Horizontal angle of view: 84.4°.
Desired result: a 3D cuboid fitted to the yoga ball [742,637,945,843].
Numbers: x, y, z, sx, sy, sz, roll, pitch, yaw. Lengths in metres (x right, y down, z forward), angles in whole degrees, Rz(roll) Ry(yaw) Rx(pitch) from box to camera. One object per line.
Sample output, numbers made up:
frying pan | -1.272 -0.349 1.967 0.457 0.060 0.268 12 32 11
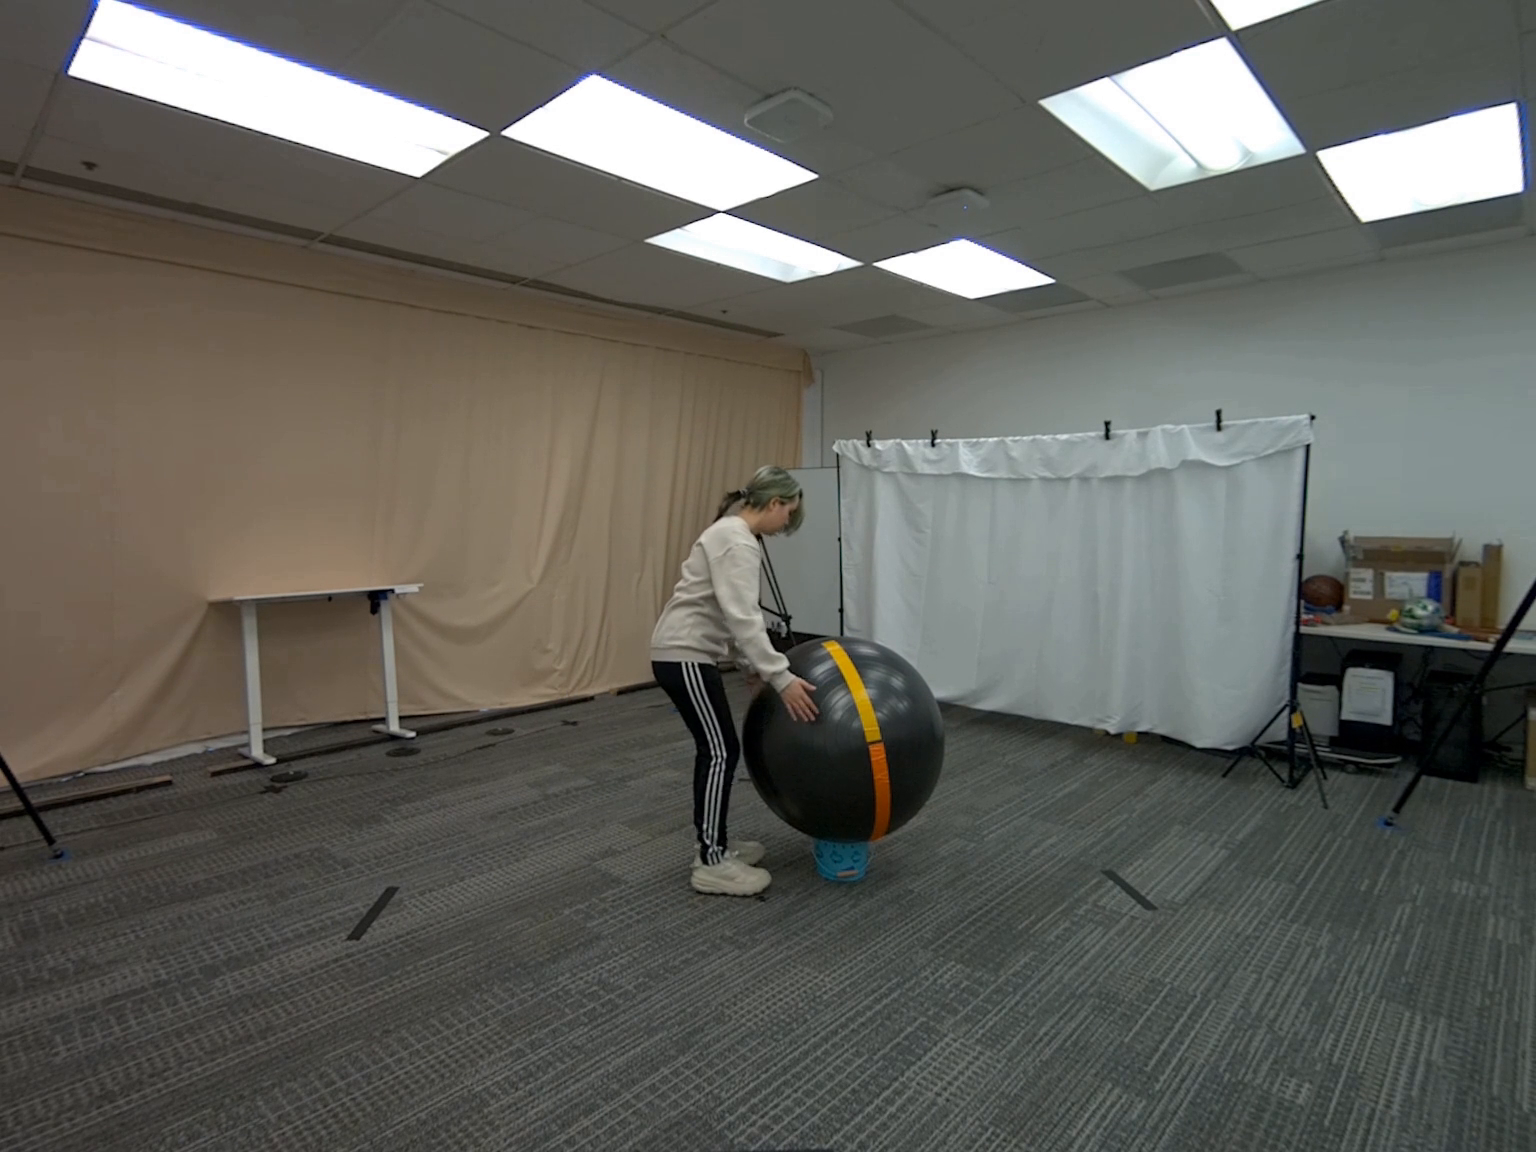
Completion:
yoga ball | 0.295 0.617 3.188 0.757 0.756 0.761 0 4 -2
